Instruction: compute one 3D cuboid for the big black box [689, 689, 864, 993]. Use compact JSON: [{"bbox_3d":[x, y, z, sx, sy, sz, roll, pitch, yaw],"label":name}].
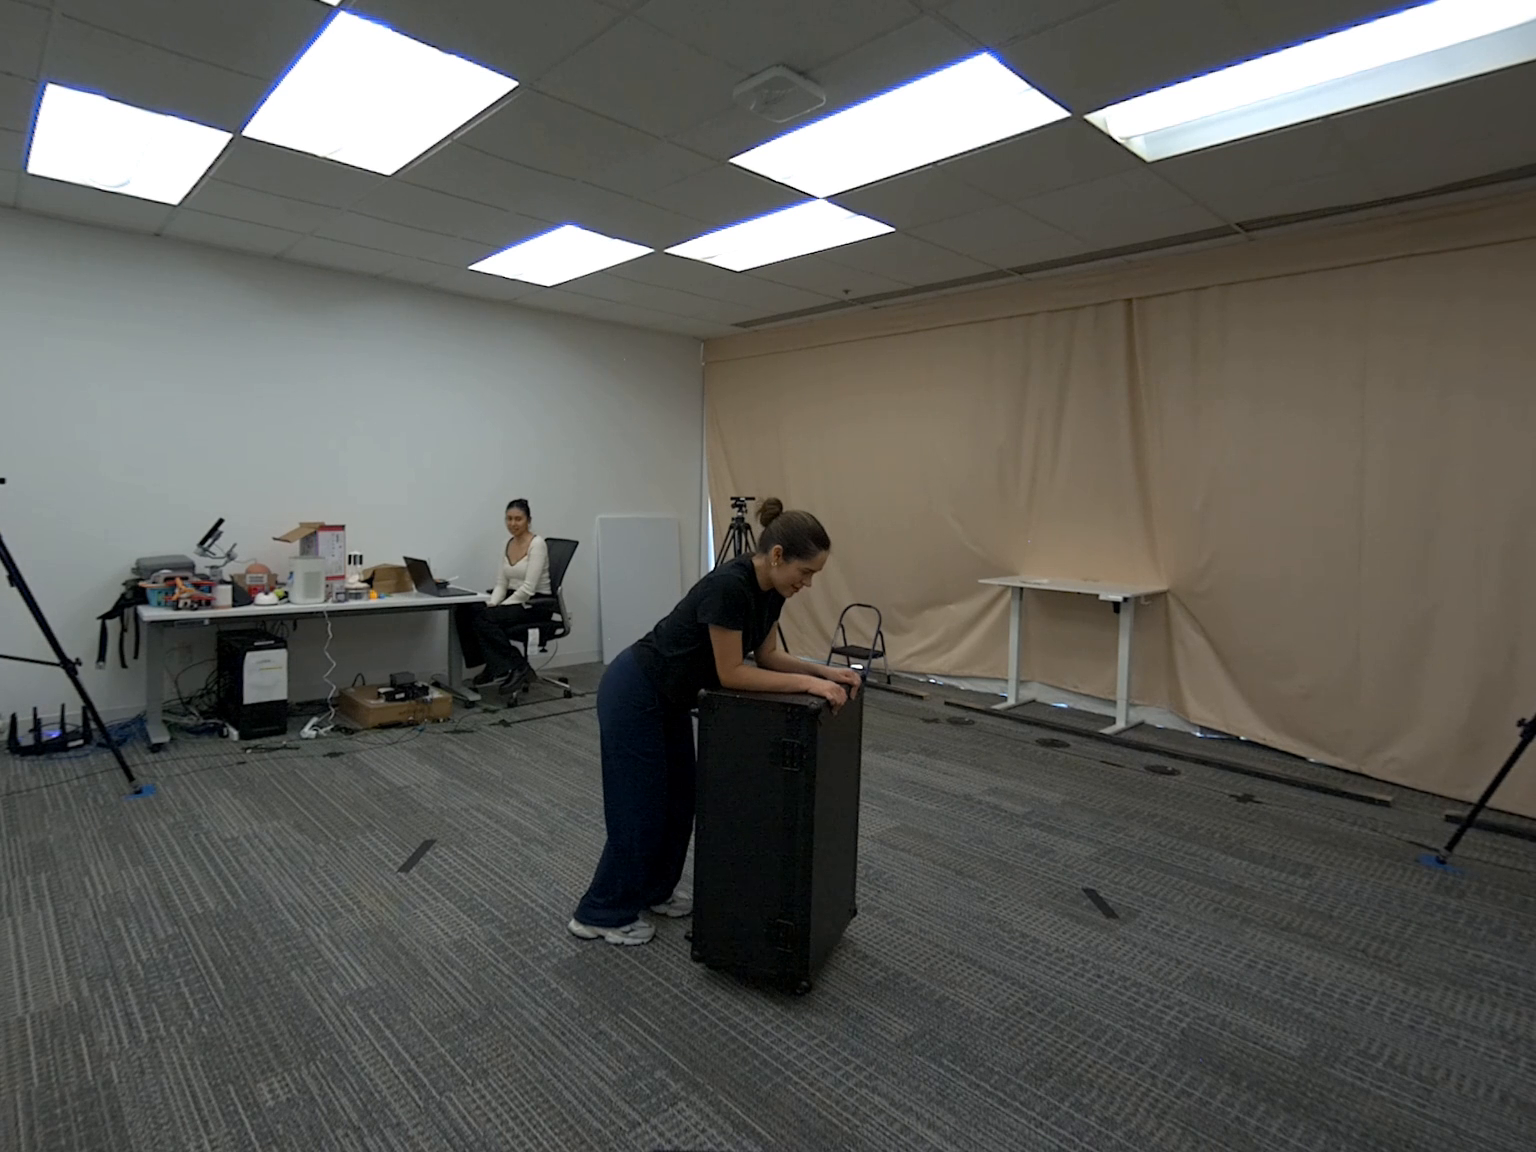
[{"bbox_3d":[0.035,0.687,2.517,0.403,0.859,0.514,4,4,21],"label":"big black box"}]
